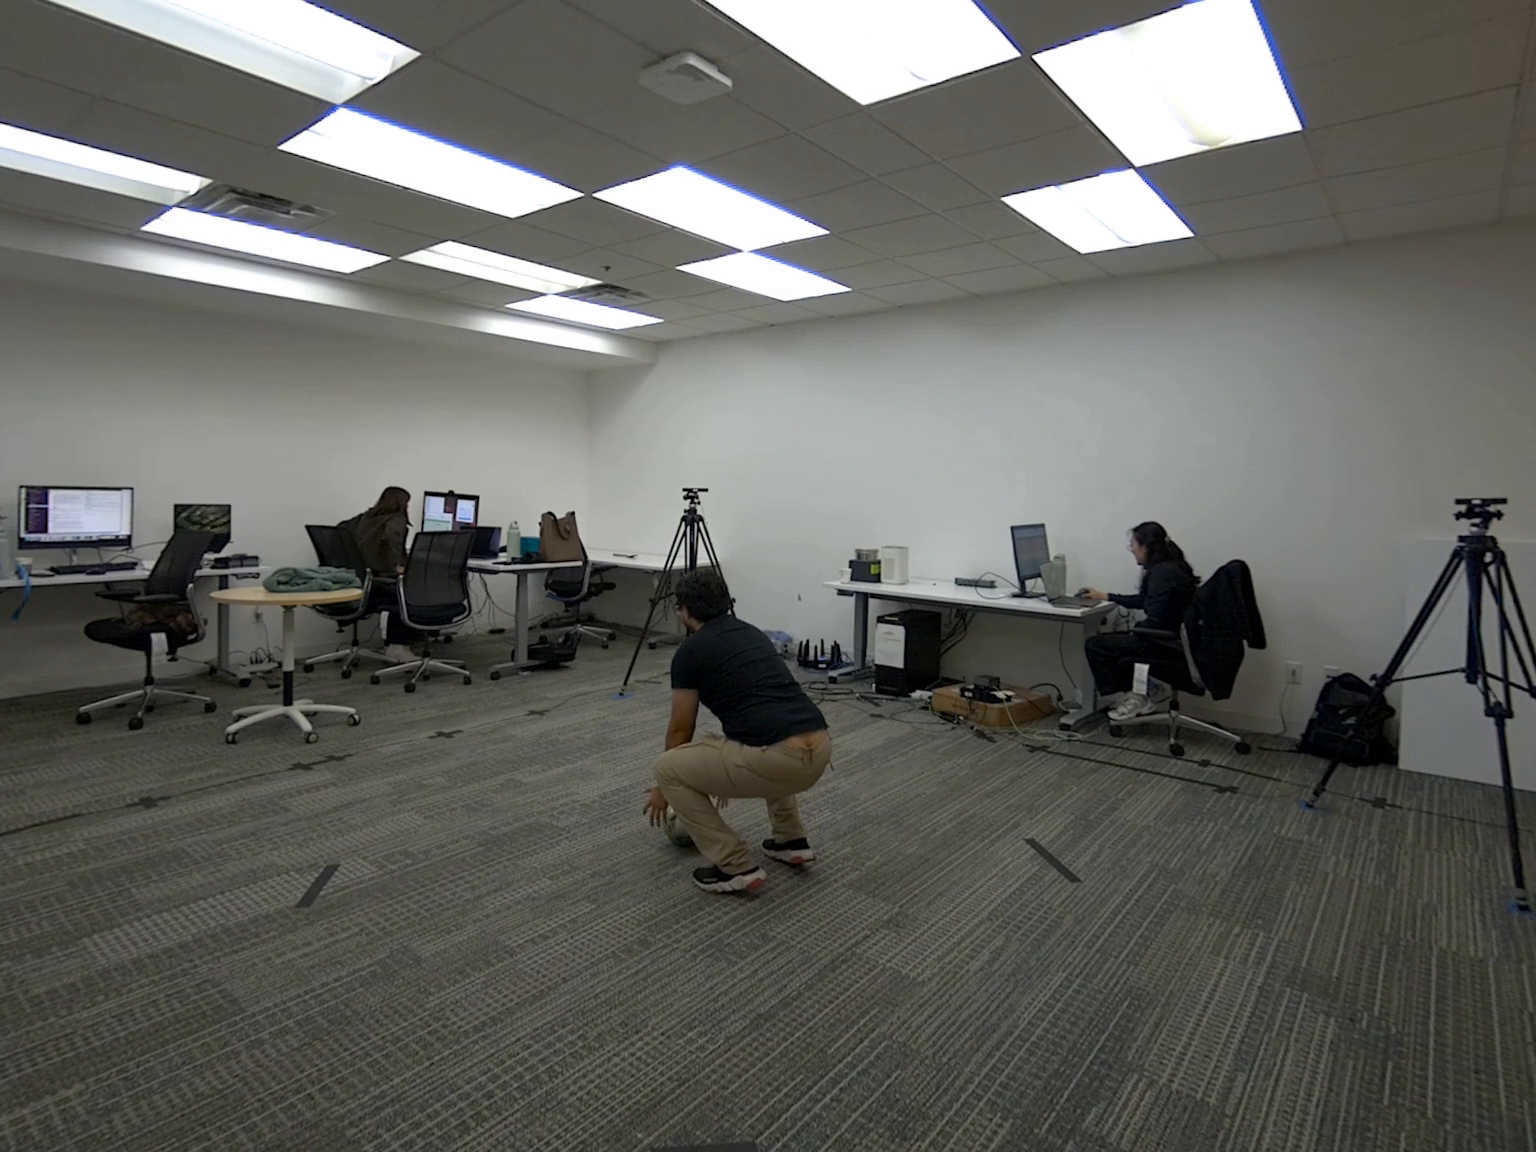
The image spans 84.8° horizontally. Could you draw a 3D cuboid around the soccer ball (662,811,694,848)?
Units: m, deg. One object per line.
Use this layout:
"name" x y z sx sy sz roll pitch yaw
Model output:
"soccer ball" -0.330 0.952 3.338 0.187 0.187 0.188 1 4 -2
